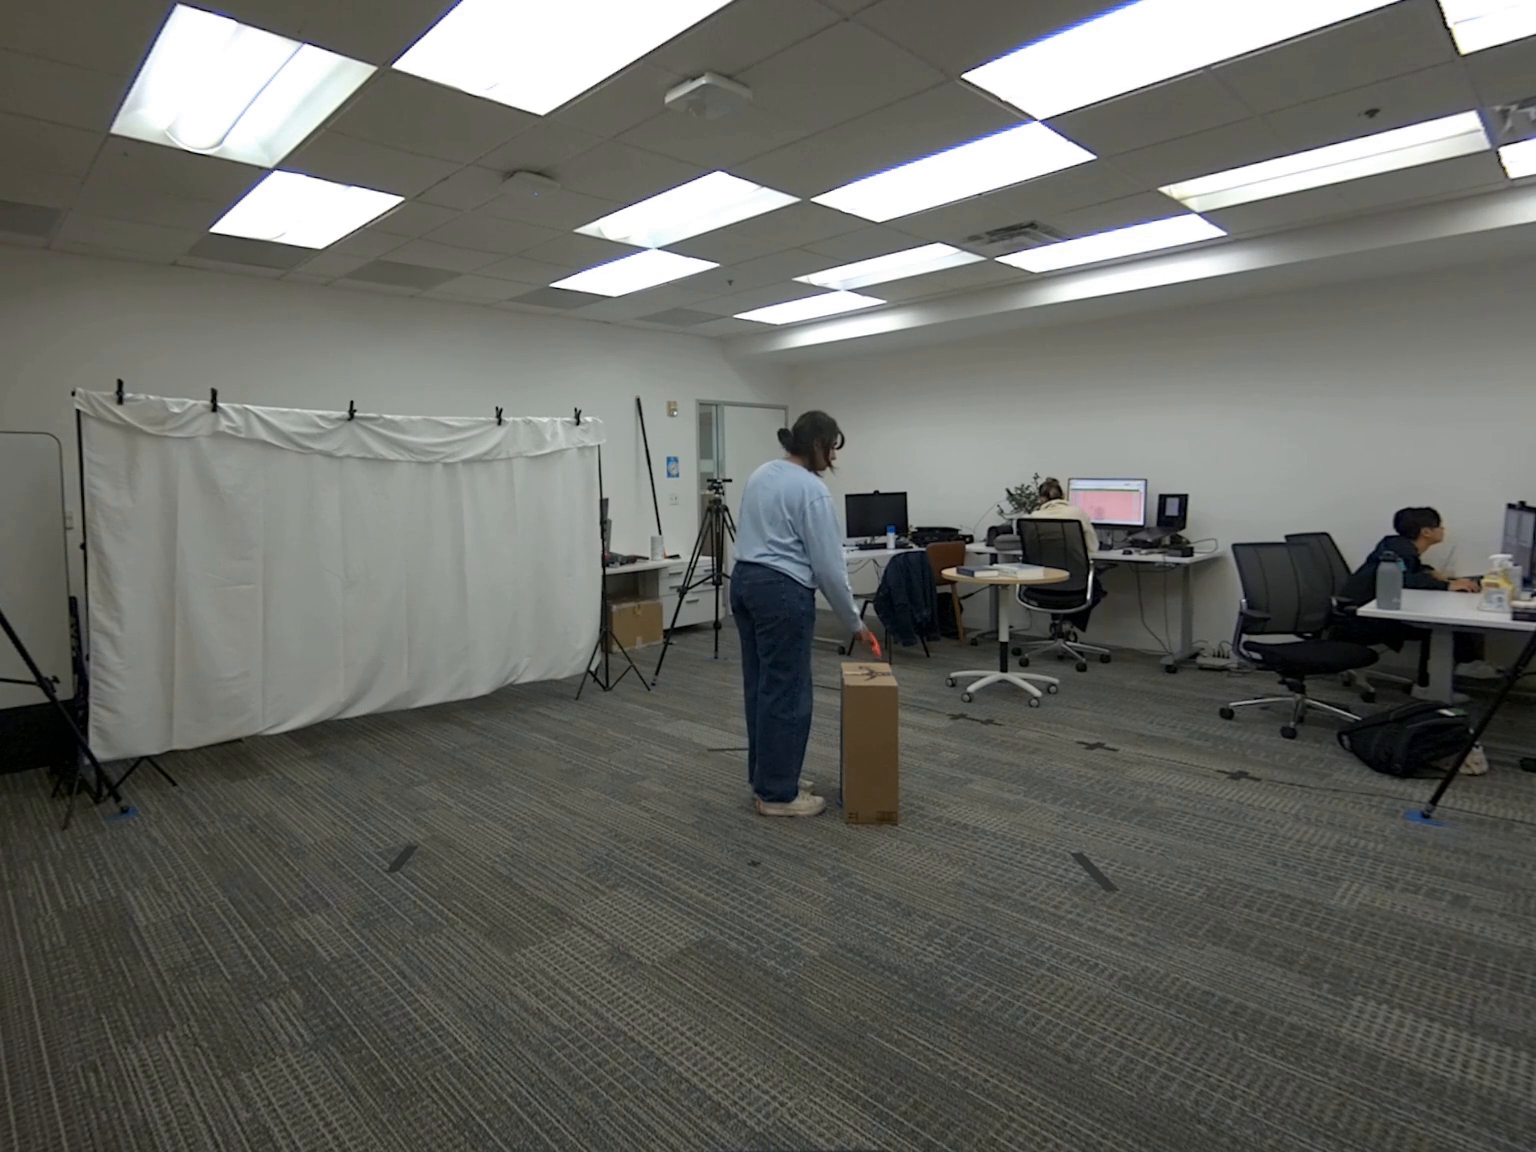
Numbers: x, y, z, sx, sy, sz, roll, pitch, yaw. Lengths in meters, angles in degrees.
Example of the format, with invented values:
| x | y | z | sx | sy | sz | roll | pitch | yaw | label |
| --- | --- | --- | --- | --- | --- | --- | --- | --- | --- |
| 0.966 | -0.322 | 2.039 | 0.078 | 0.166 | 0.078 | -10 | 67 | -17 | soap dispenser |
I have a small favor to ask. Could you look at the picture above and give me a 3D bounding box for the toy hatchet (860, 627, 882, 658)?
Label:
| x | y | z | sx | sy | sz | roll | pitch | yaw | label |
| --- | --- | --- | --- | --- | --- | --- | --- | --- | --- |
| 0.421 | 0.280 | 3.628 | 0.030 | 0.133 | 0.264 | -31 | -11 | 17 | toy hatchet |
